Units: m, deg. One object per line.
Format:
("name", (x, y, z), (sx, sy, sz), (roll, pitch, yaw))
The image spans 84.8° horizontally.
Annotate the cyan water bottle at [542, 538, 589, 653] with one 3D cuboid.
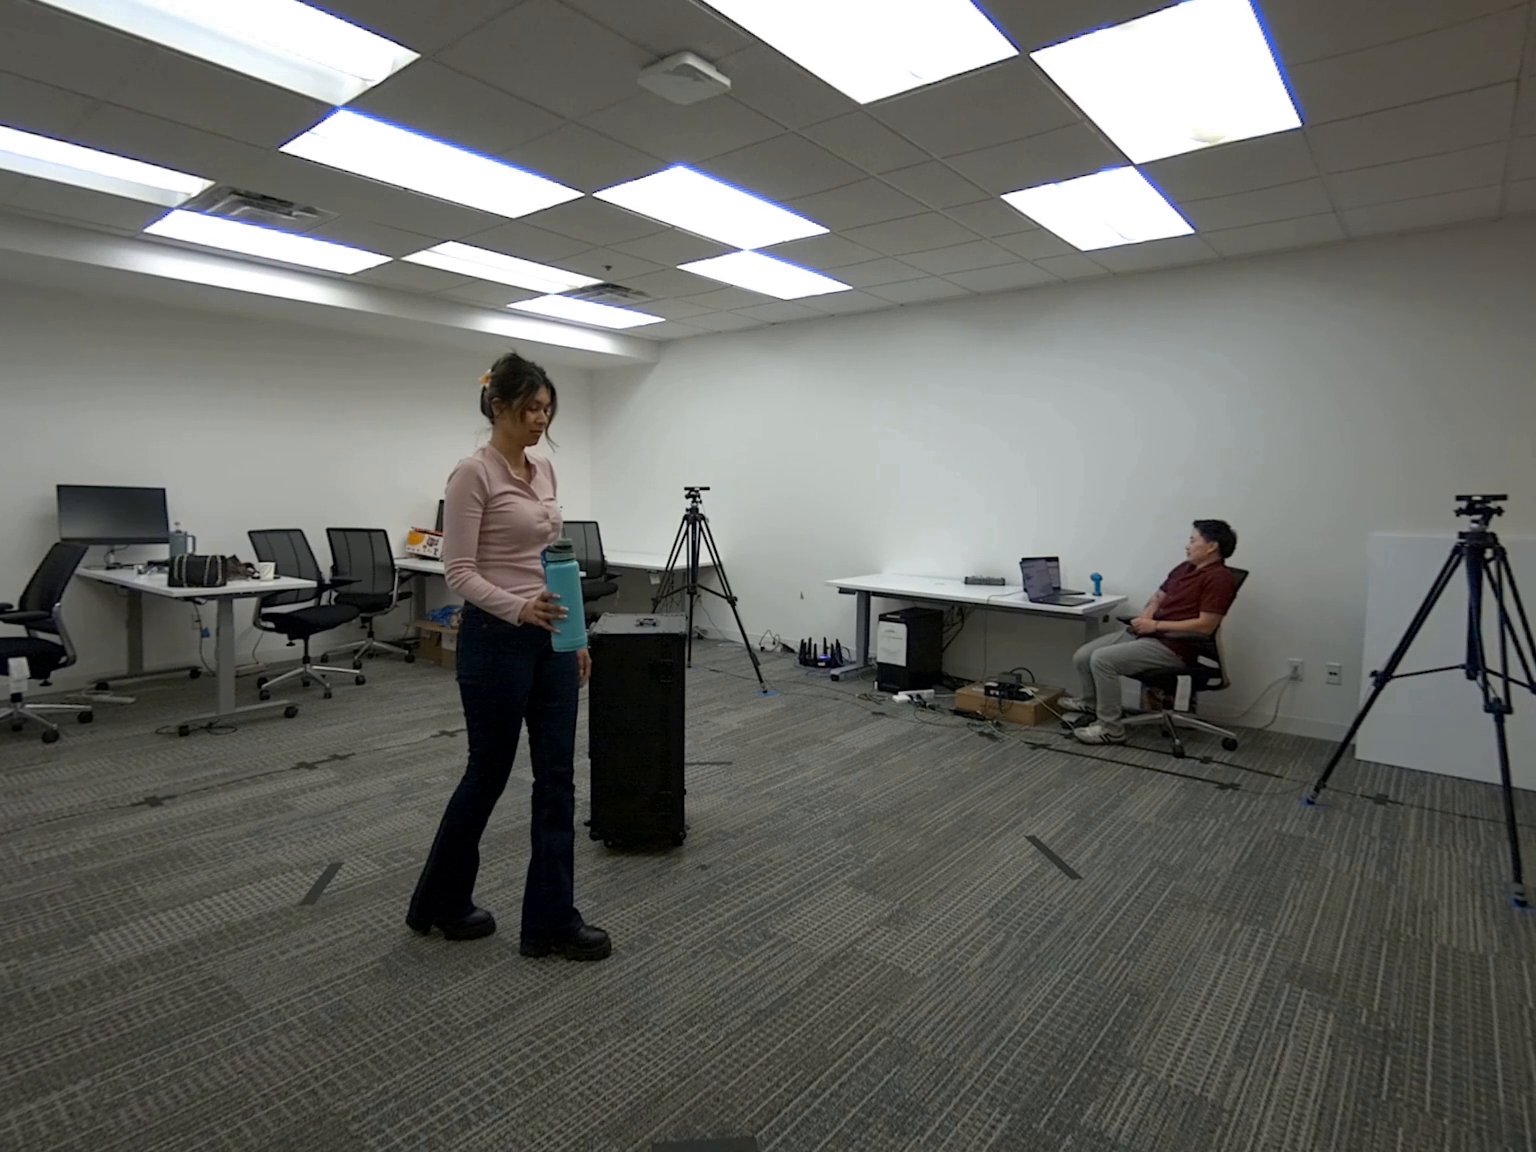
("cyan water bottle", (-0.536, 0.045, 2.186), (0.092, 0.282, 0.093), (-5, 5, -1))
